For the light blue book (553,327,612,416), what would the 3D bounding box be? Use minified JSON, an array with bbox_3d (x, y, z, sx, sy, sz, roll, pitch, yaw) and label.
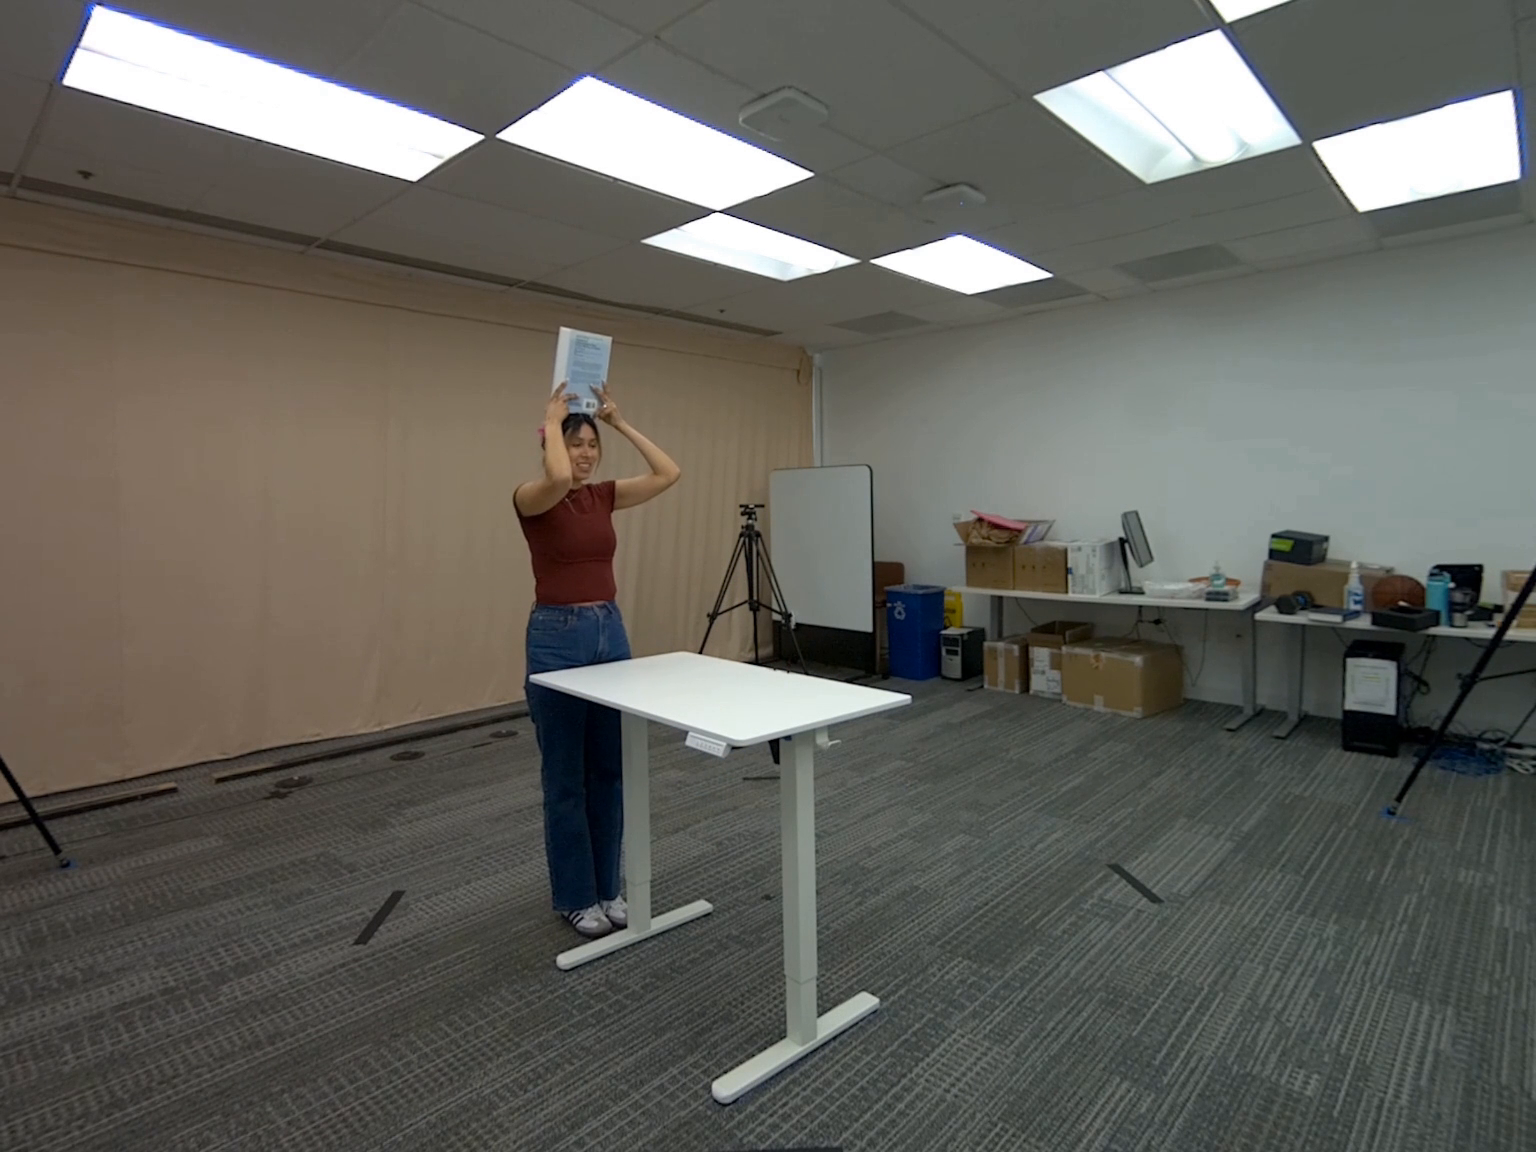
[{"bbox_3d":[-0.615,-0.669,2.764,0.061,0.260,0.186,16,13,31],"label":"light blue book"}]
